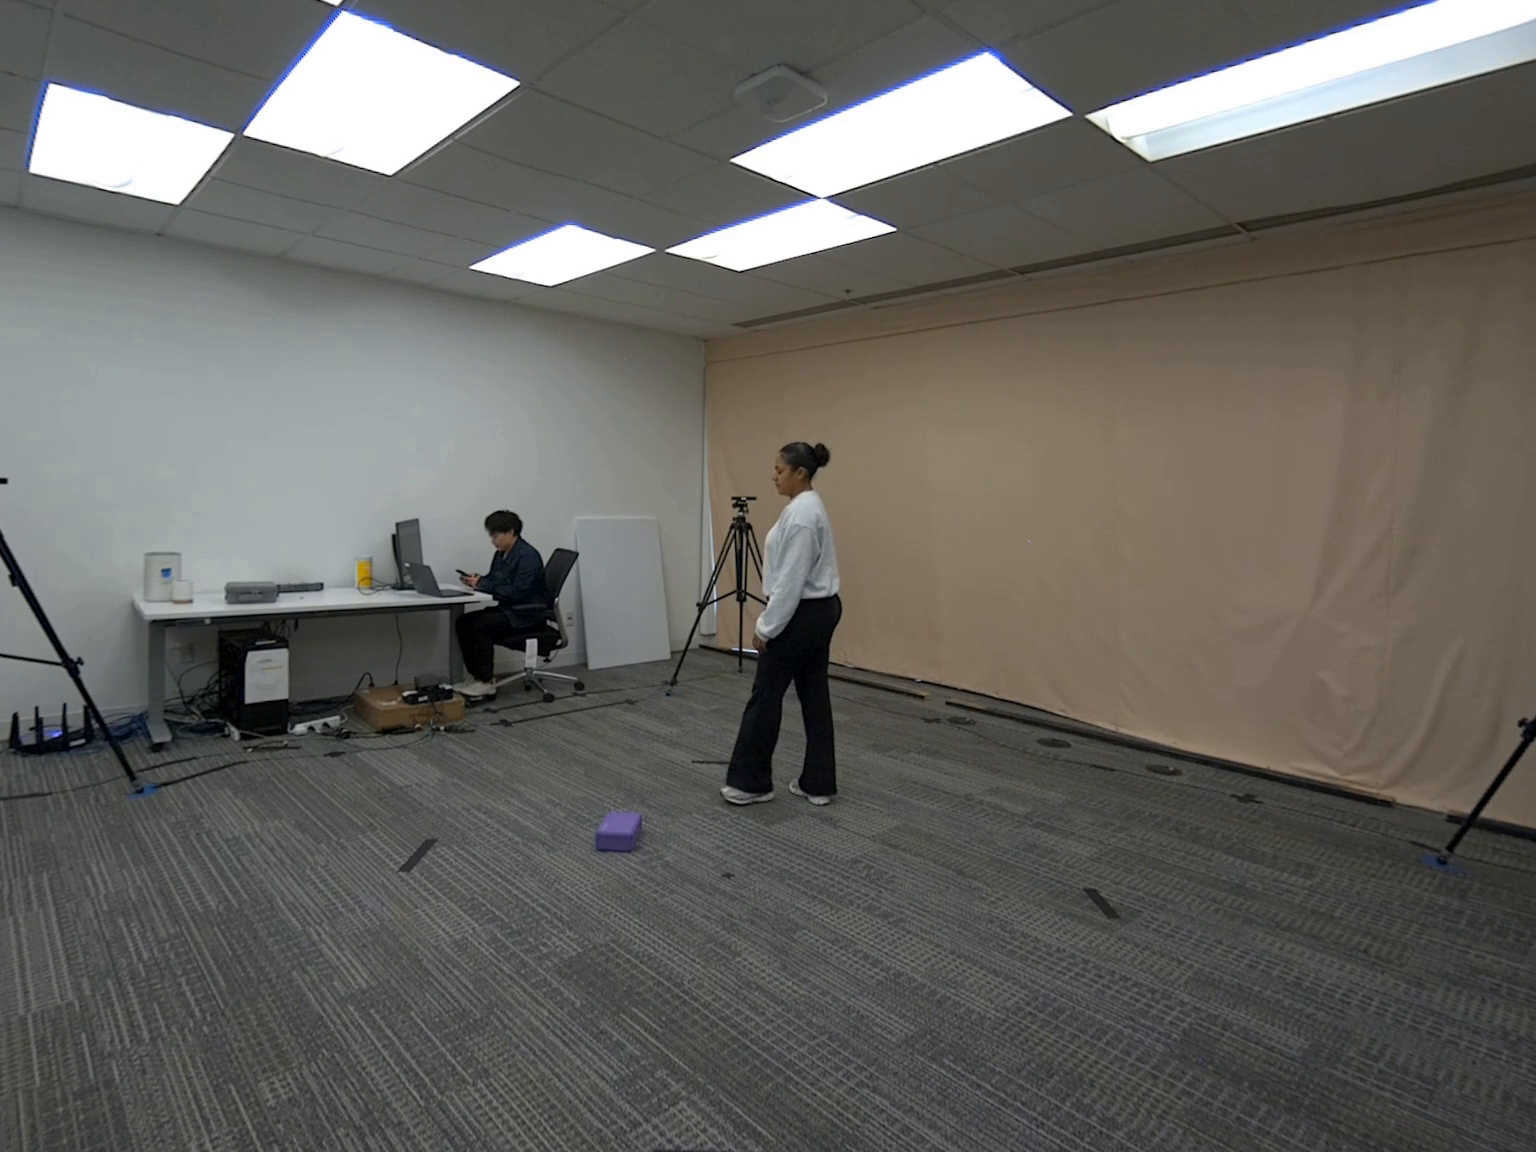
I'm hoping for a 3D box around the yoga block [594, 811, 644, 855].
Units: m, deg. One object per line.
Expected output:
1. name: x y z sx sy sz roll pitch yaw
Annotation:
1. yoga block: -0.609 1.029 3.398 0.149 0.076 0.229 4 5 3
